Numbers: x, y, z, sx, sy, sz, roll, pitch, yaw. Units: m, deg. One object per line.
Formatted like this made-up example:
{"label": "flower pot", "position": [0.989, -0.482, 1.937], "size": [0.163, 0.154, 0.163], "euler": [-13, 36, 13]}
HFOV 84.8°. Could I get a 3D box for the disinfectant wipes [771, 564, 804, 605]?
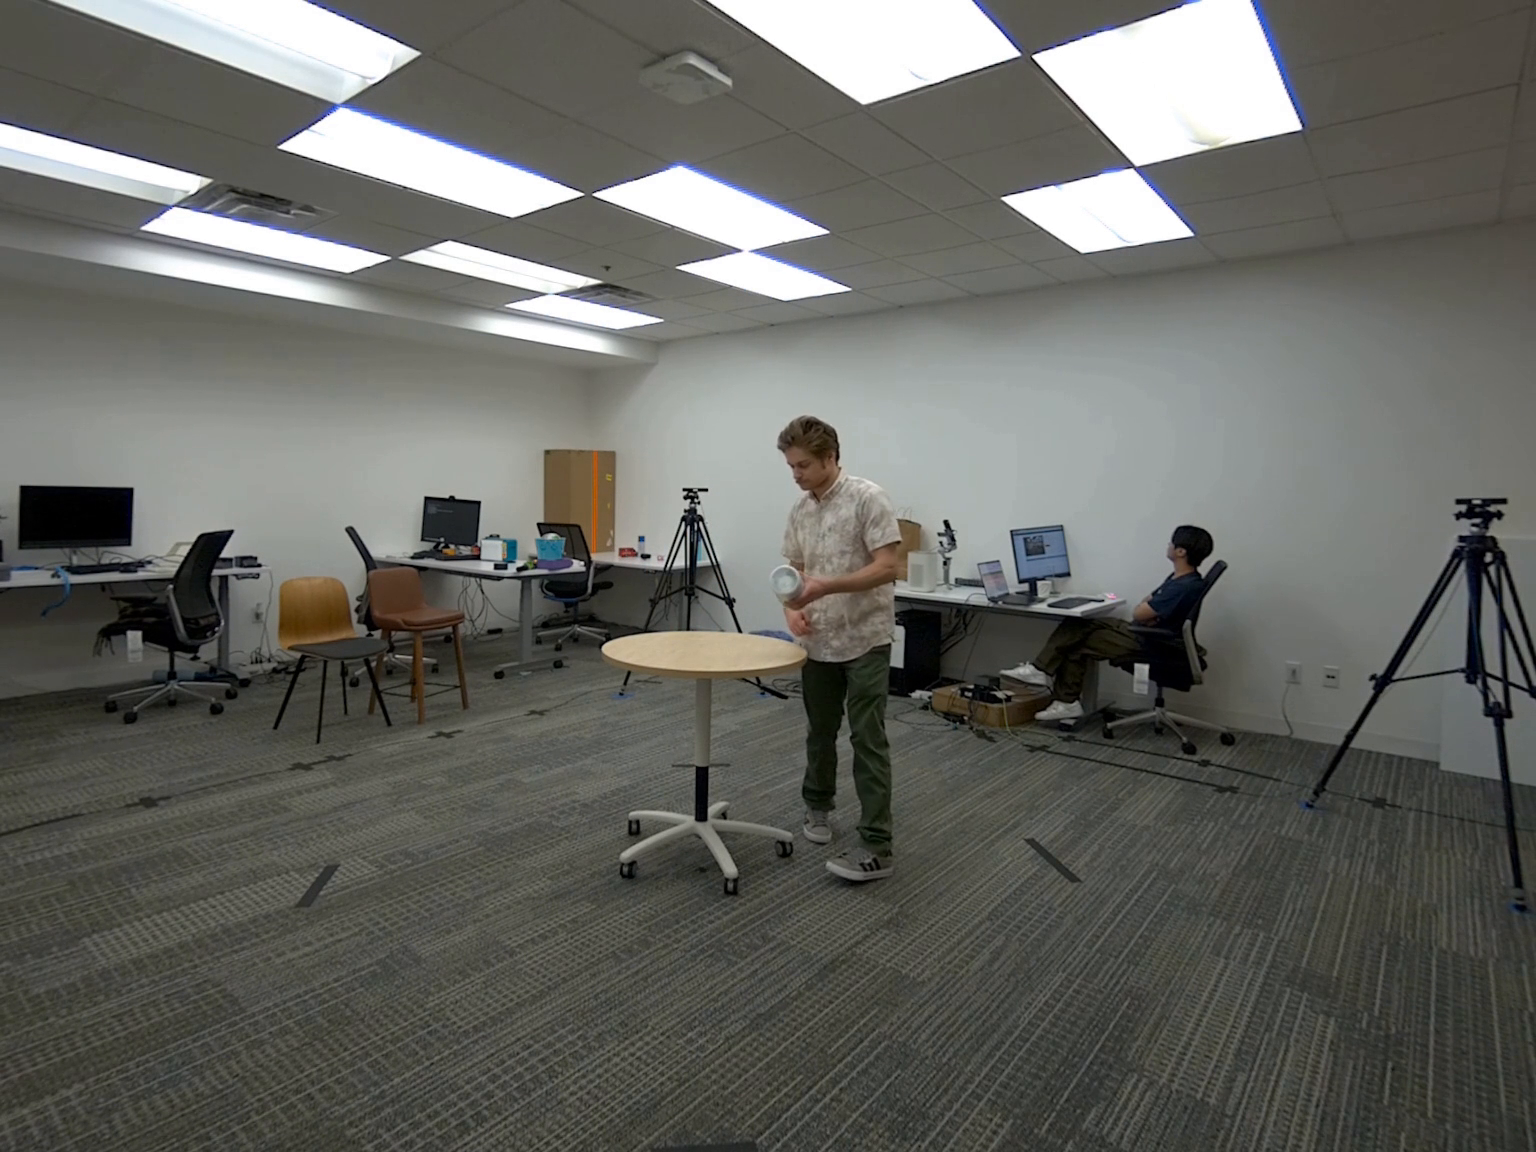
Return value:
{"label": "disinfectant wipes", "position": [0.069, 0.038, 3.013], "size": [0.119, 0.119, 0.211], "euler": [2, -16, 12]}
